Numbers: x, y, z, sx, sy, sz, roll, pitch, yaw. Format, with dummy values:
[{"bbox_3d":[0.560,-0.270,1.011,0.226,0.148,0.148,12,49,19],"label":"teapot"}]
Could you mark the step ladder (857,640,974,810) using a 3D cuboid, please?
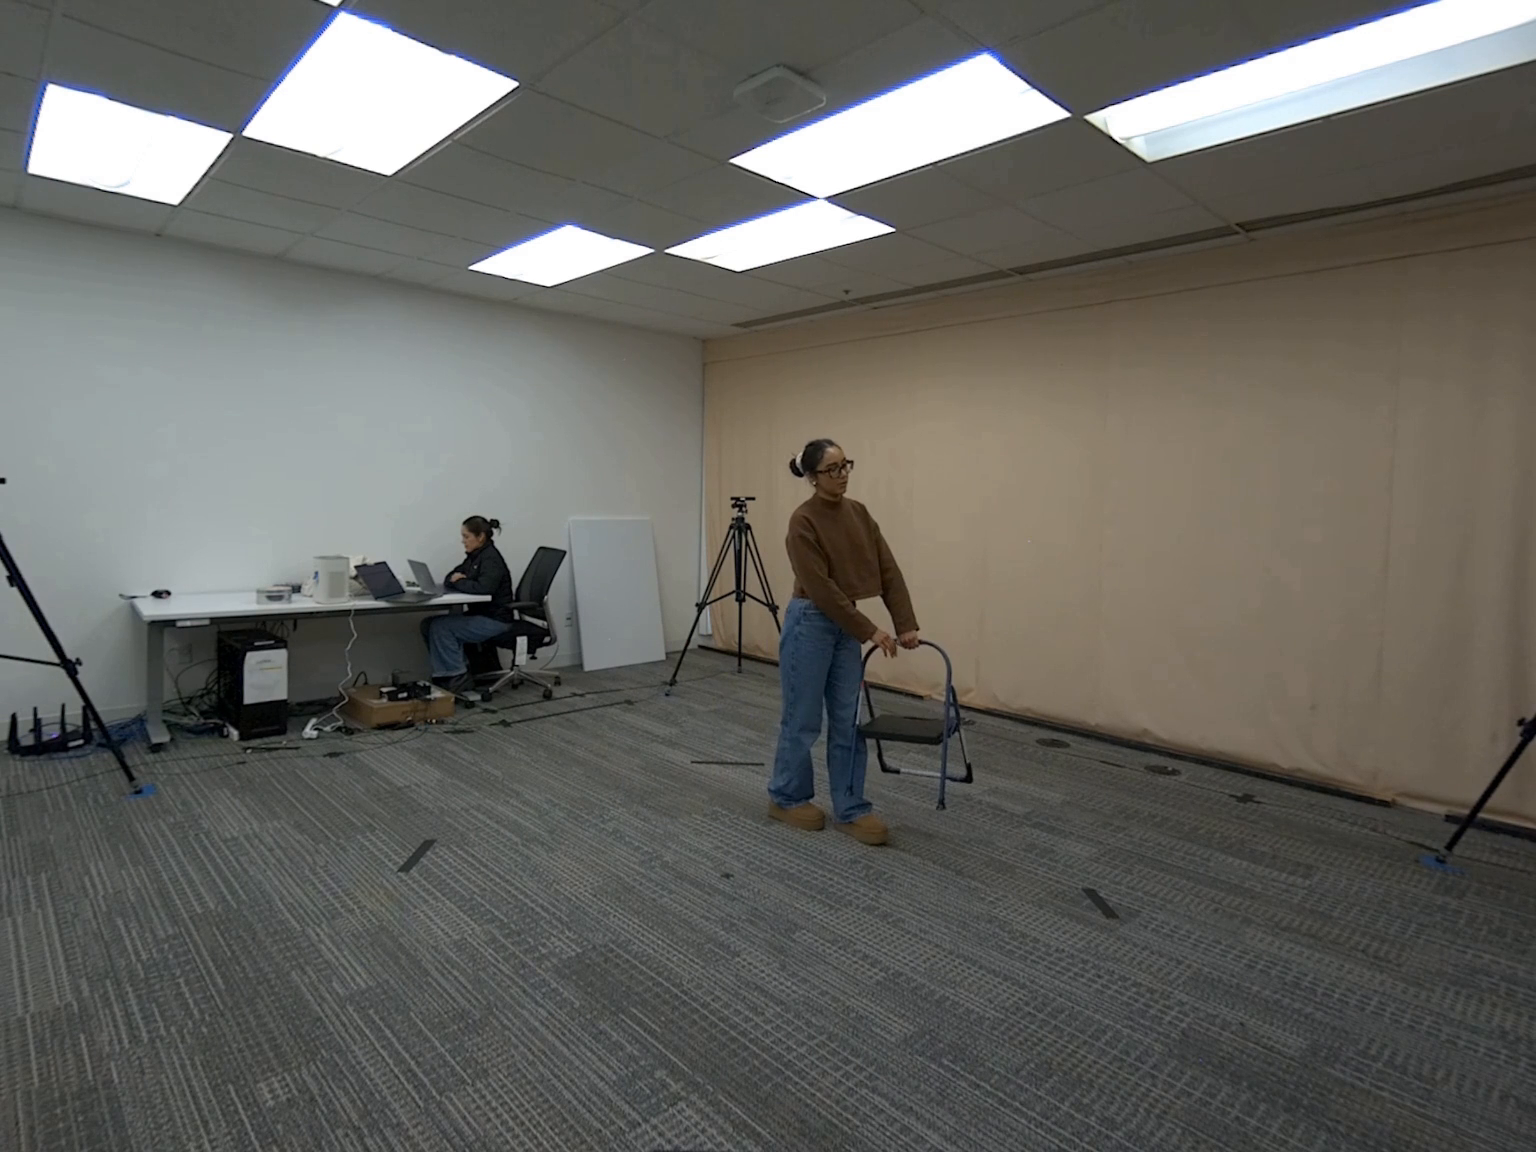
[{"bbox_3d":[0.560,0.577,3.439,0.440,0.604,0.343,-3,4,35],"label":"step ladder"}]
